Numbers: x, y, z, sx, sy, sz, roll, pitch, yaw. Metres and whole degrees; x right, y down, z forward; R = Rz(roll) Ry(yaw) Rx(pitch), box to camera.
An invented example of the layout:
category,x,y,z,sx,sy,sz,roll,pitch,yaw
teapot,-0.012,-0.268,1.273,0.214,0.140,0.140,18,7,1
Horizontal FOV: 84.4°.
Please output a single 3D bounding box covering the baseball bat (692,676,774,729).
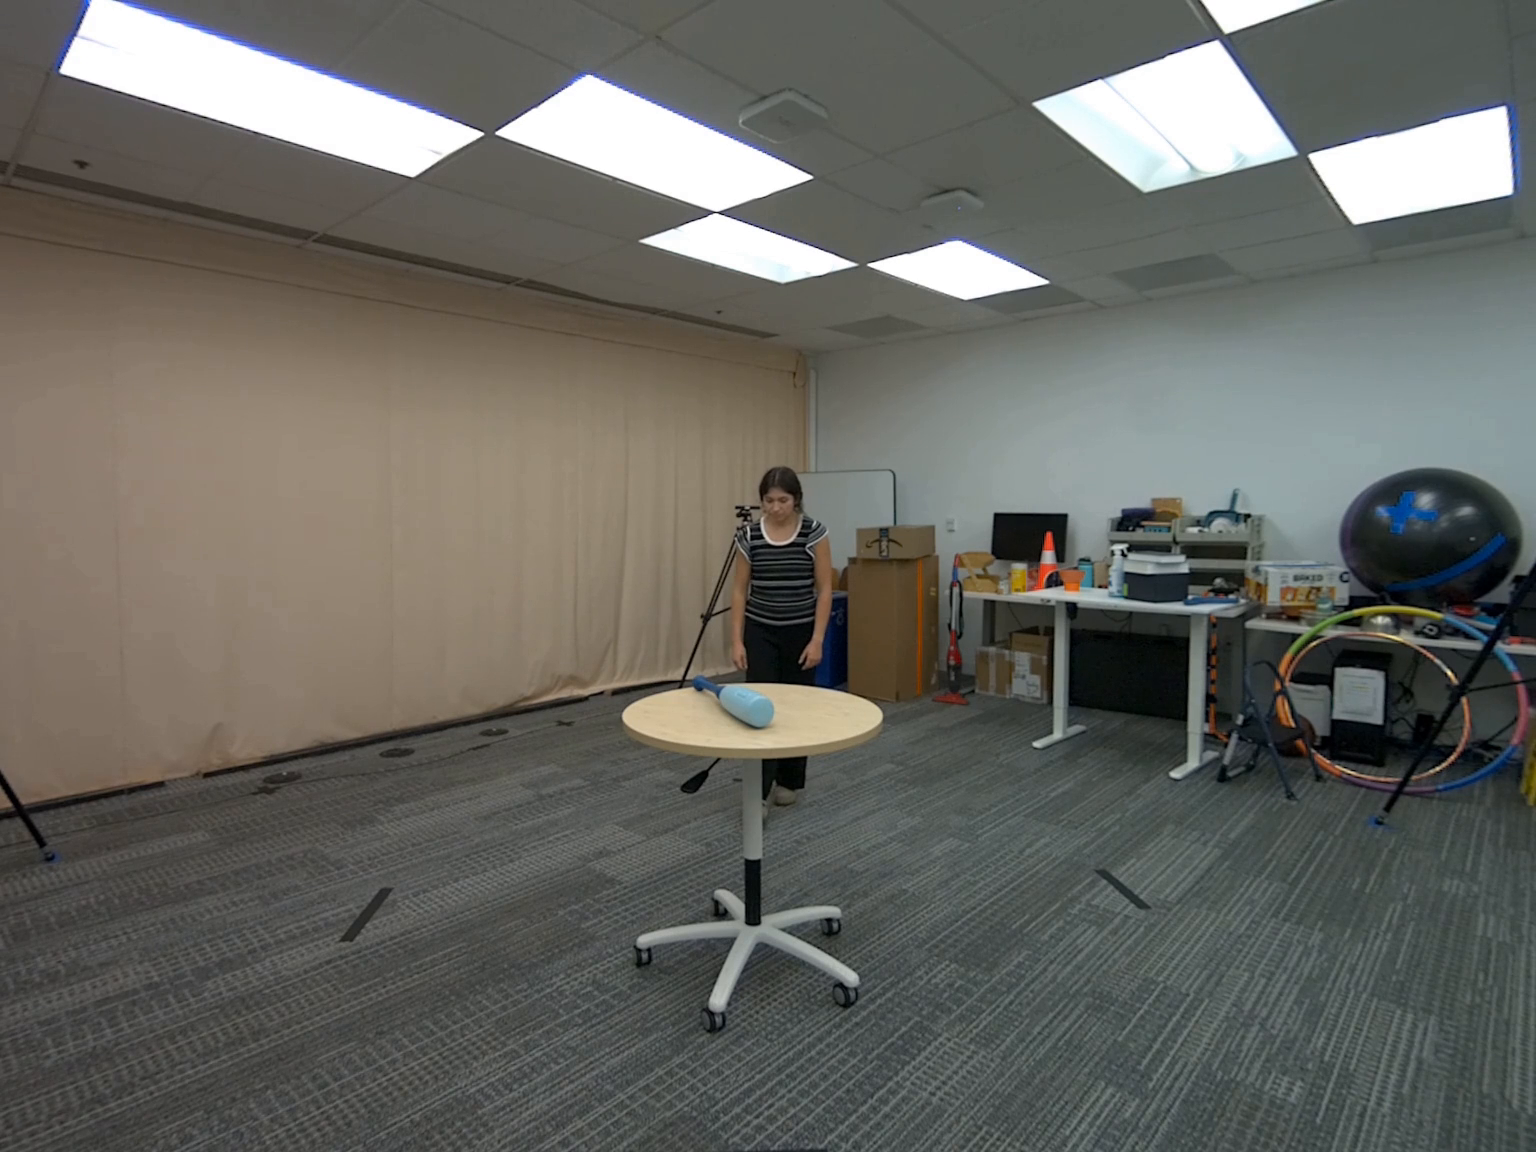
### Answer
category,x,y,z,sx,sy,sz,roll,pitch,yaw
baseball bat,-0.126,0.364,2.534,0.087,0.089,0.555,-1,2,-24
